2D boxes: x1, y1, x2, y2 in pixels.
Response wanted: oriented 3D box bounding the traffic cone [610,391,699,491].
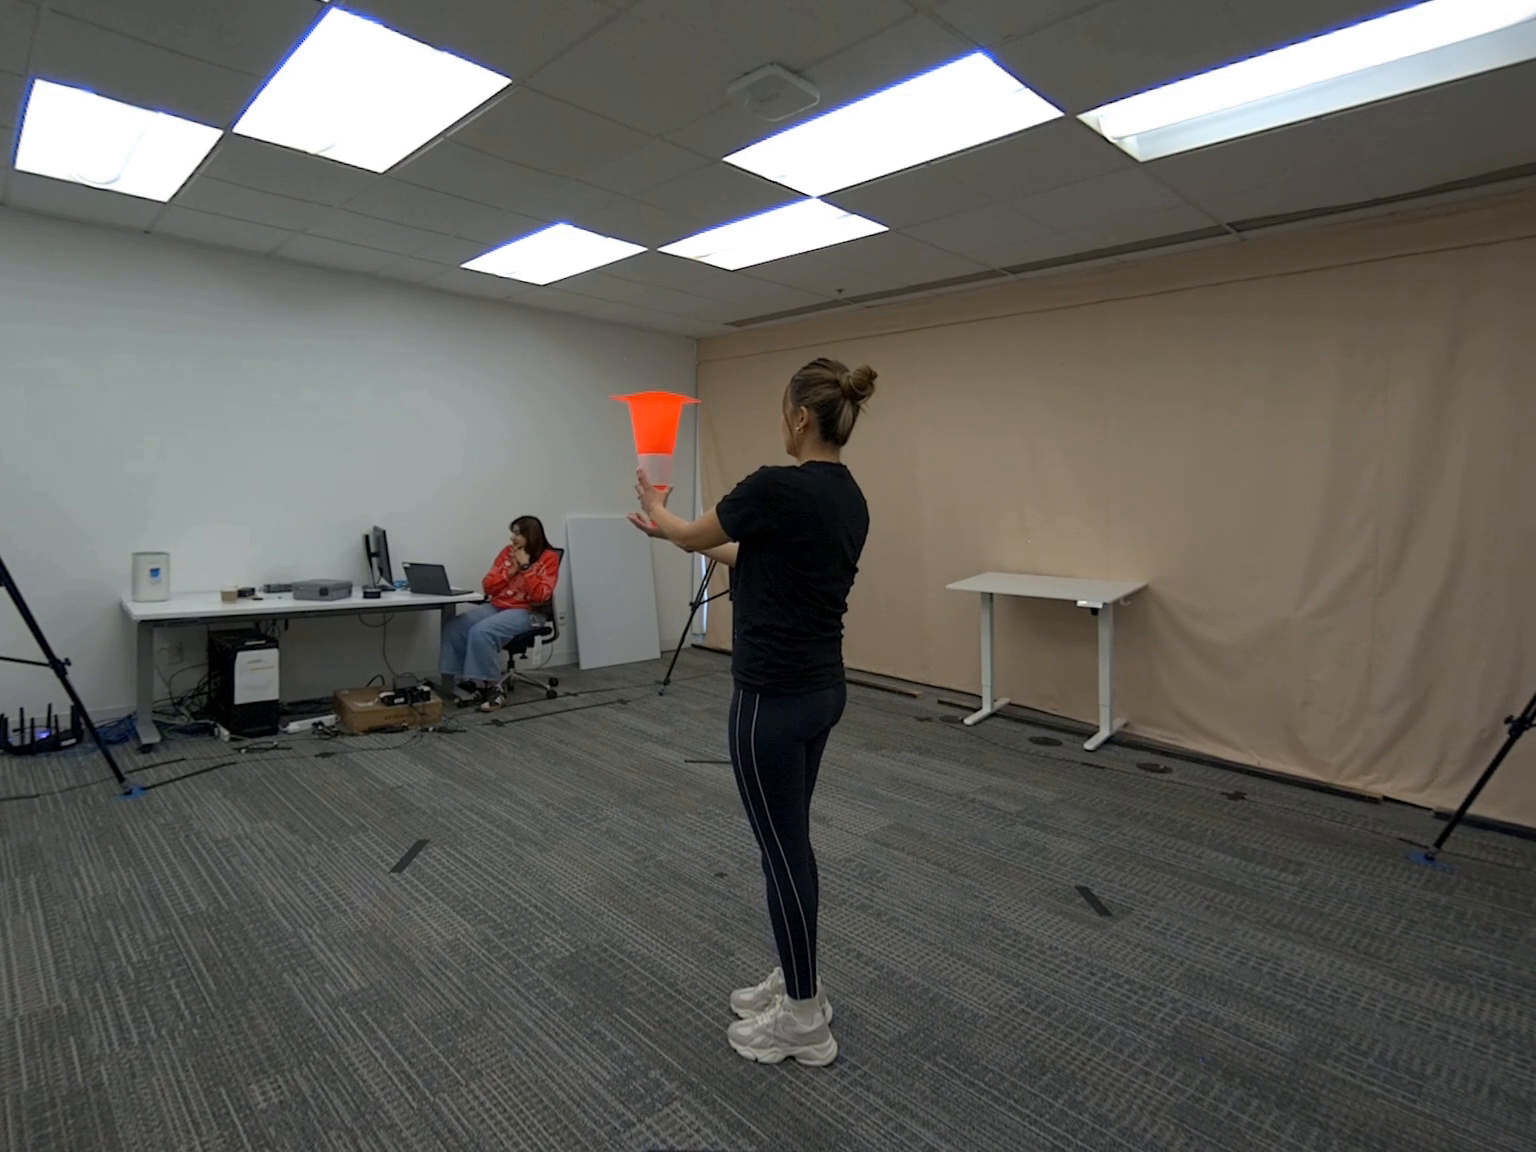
[{"bbox_3d":[-0.339,-0.328,2.453,0.210,0.383,0.198,3,2,42],"label":"traffic cone"}]
